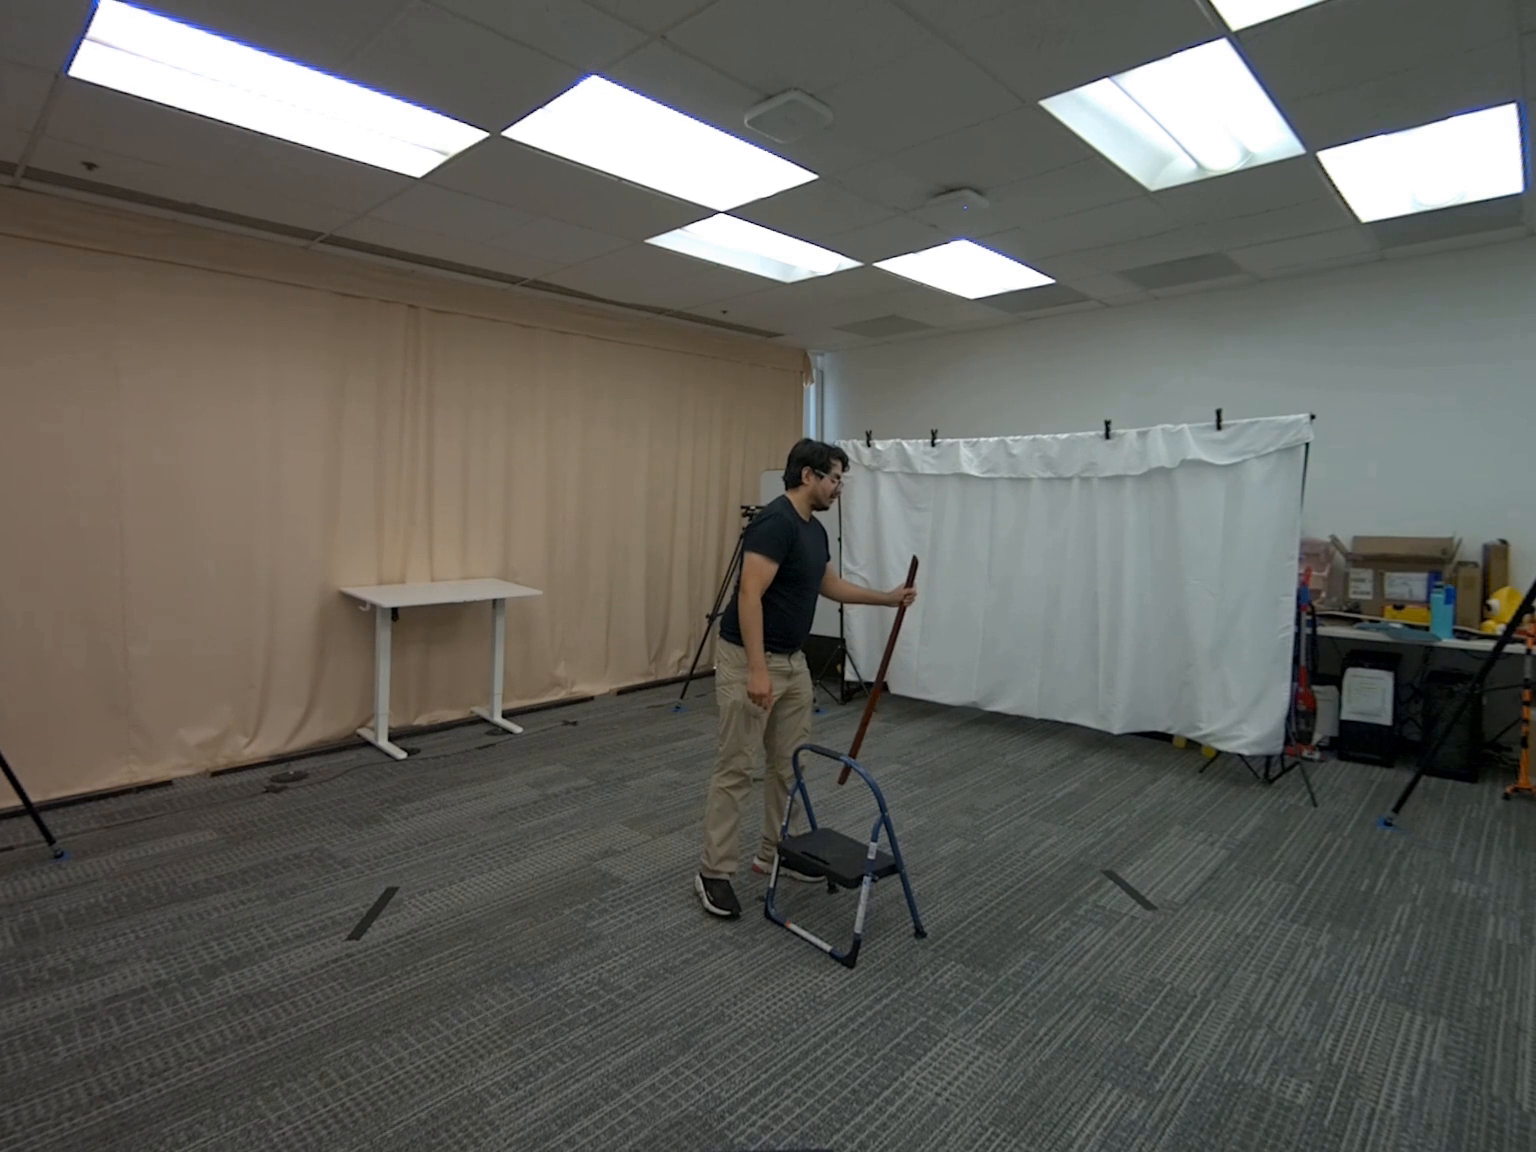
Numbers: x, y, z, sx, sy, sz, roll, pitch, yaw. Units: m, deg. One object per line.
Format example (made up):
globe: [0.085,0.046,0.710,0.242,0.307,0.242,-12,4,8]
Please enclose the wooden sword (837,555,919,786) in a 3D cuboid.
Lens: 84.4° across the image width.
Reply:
wooden sword: [0.442,0.410,3.350,0.053,1.019,0.023,25,18,27]
